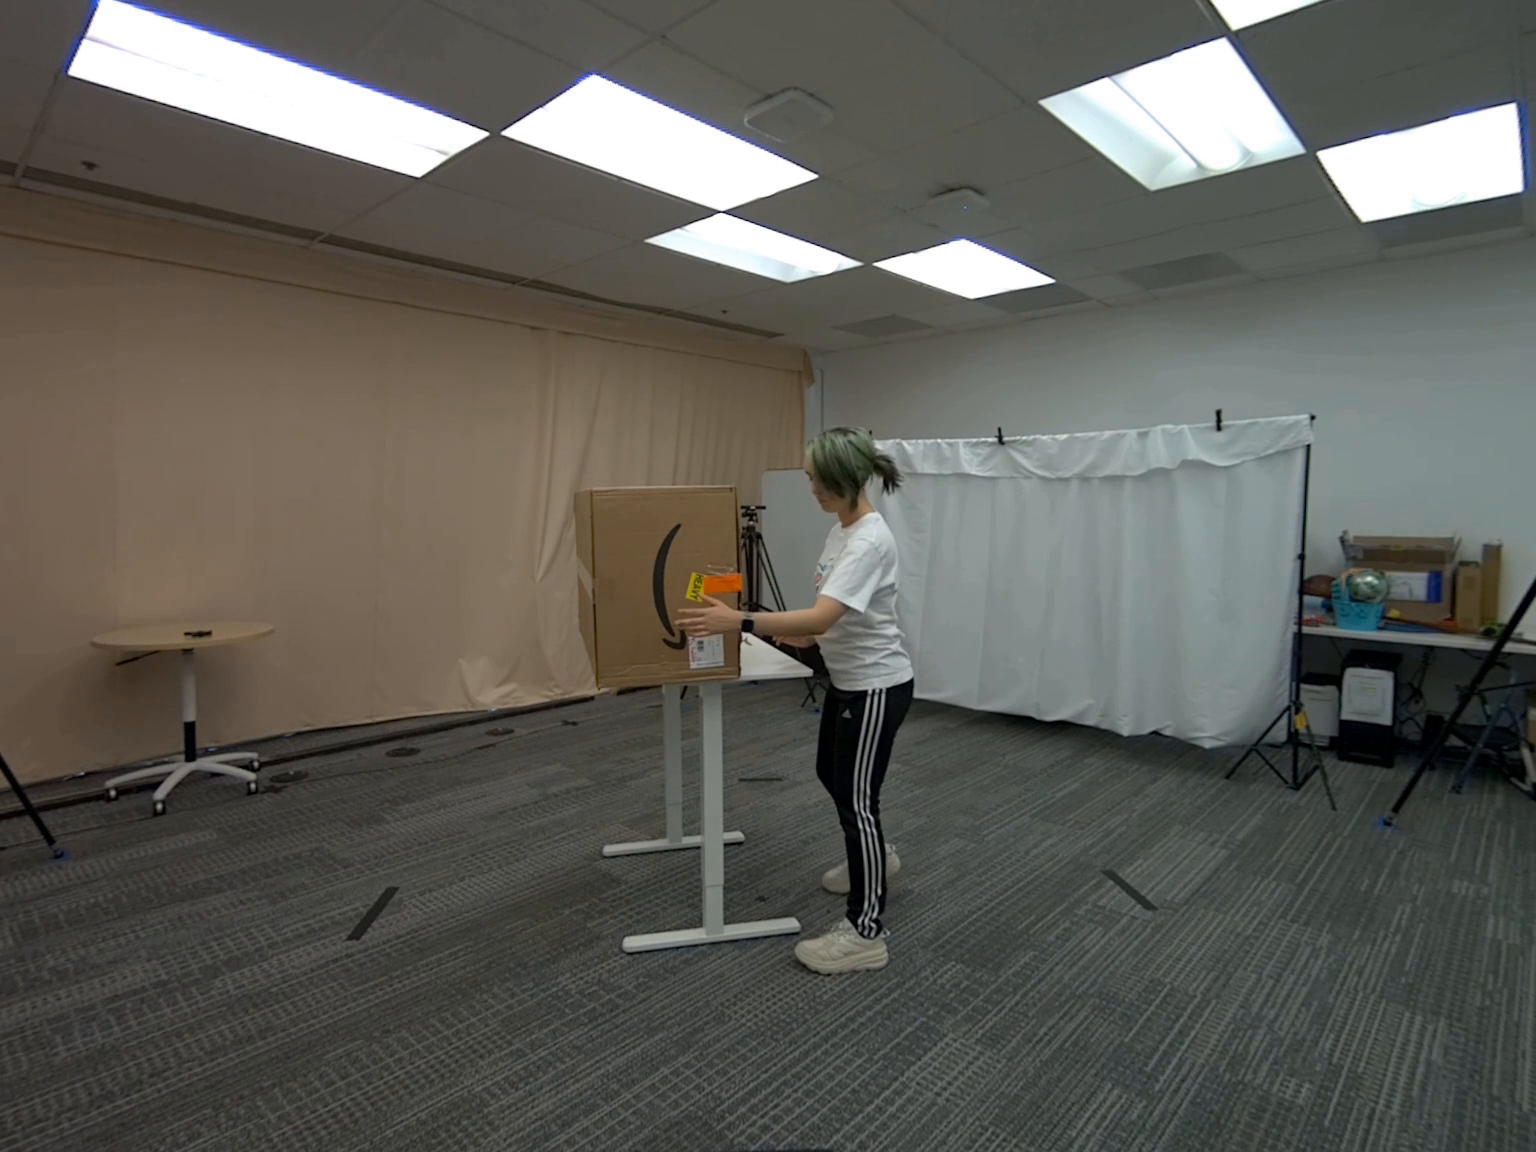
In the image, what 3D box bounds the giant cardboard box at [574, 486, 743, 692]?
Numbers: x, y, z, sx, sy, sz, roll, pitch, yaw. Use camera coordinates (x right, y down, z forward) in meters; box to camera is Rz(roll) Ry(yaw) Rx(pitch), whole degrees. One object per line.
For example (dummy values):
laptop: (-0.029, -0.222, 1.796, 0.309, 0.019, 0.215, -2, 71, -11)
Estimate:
giant cardboard box: (-0.422, -0.019, 2.925, 0.440, 0.582, 1.045, -2, 6, -15)
